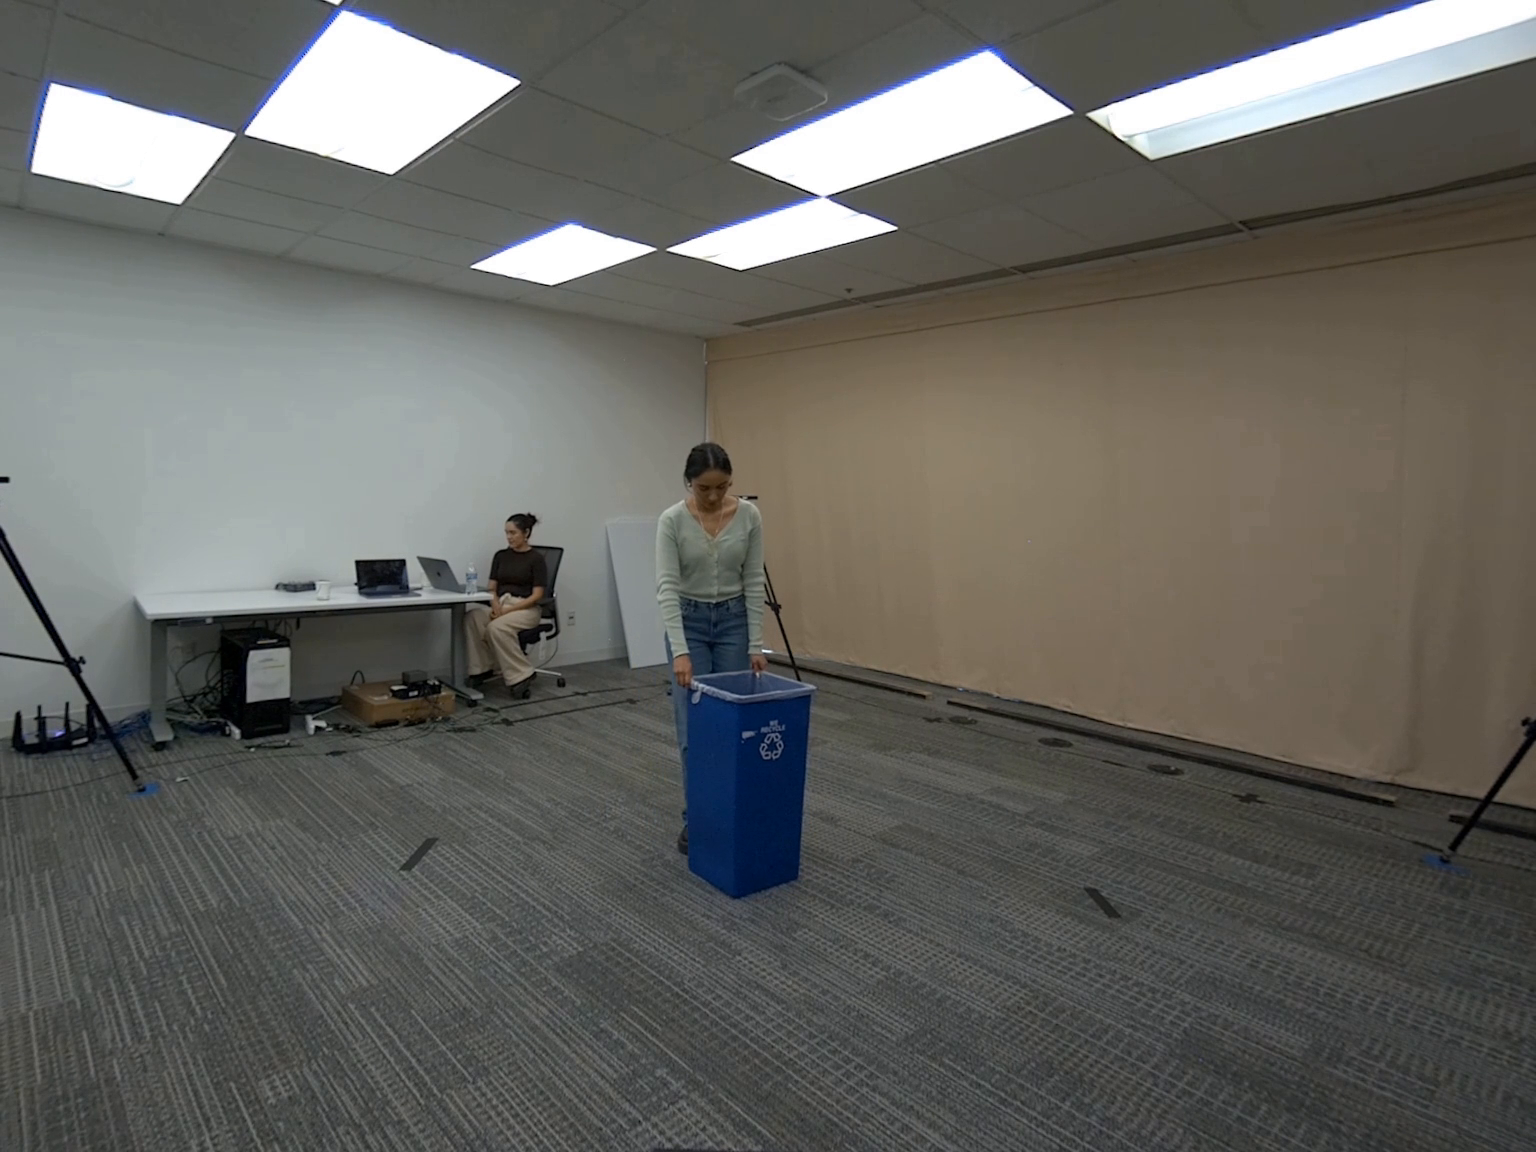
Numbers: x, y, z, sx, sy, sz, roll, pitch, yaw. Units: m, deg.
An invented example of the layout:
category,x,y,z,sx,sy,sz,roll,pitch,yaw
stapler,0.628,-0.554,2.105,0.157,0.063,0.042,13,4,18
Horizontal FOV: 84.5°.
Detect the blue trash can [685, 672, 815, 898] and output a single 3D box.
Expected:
category,x,y,z,sx,sy,sz,roll,pitch,yaw
blue trash can,-0.089,0.743,3.107,0.366,0.712,0.387,-1,4,-37
